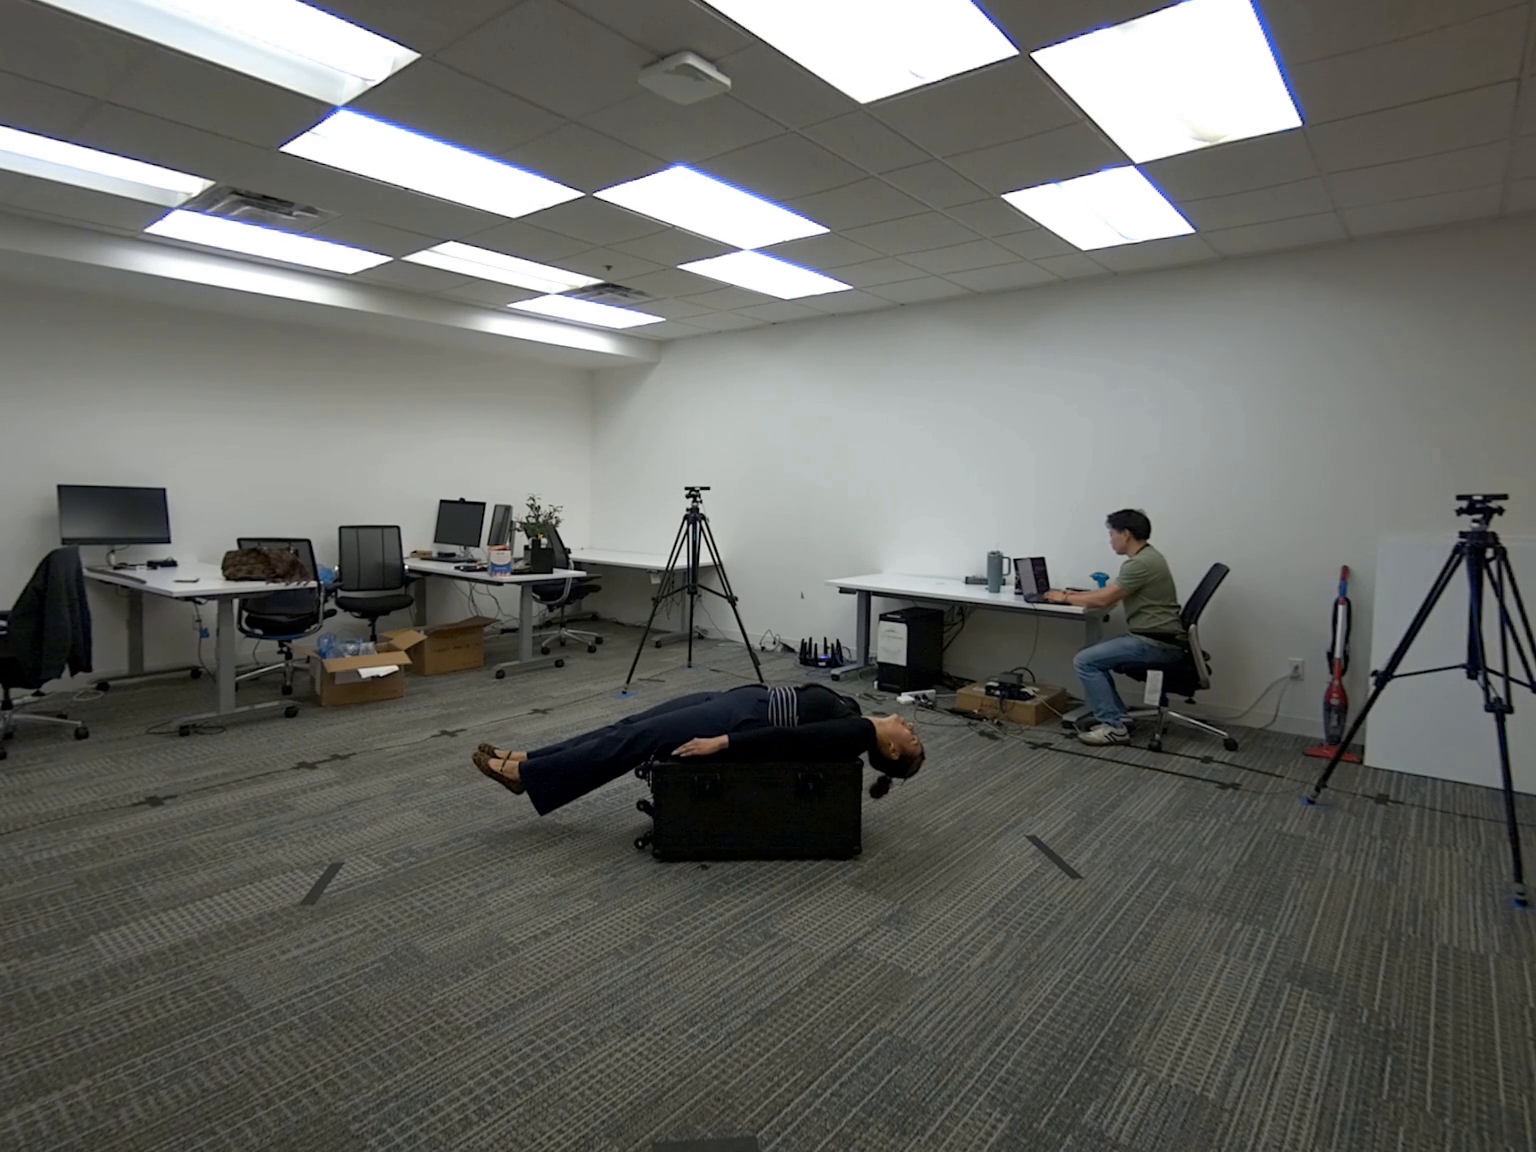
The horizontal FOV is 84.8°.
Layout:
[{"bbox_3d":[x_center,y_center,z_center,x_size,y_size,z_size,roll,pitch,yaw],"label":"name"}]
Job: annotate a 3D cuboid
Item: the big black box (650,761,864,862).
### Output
[{"bbox_3d":[-0.109,0.842,3.390,0.857,0.395,0.526,1,5,-5],"label":"big black box"}]
